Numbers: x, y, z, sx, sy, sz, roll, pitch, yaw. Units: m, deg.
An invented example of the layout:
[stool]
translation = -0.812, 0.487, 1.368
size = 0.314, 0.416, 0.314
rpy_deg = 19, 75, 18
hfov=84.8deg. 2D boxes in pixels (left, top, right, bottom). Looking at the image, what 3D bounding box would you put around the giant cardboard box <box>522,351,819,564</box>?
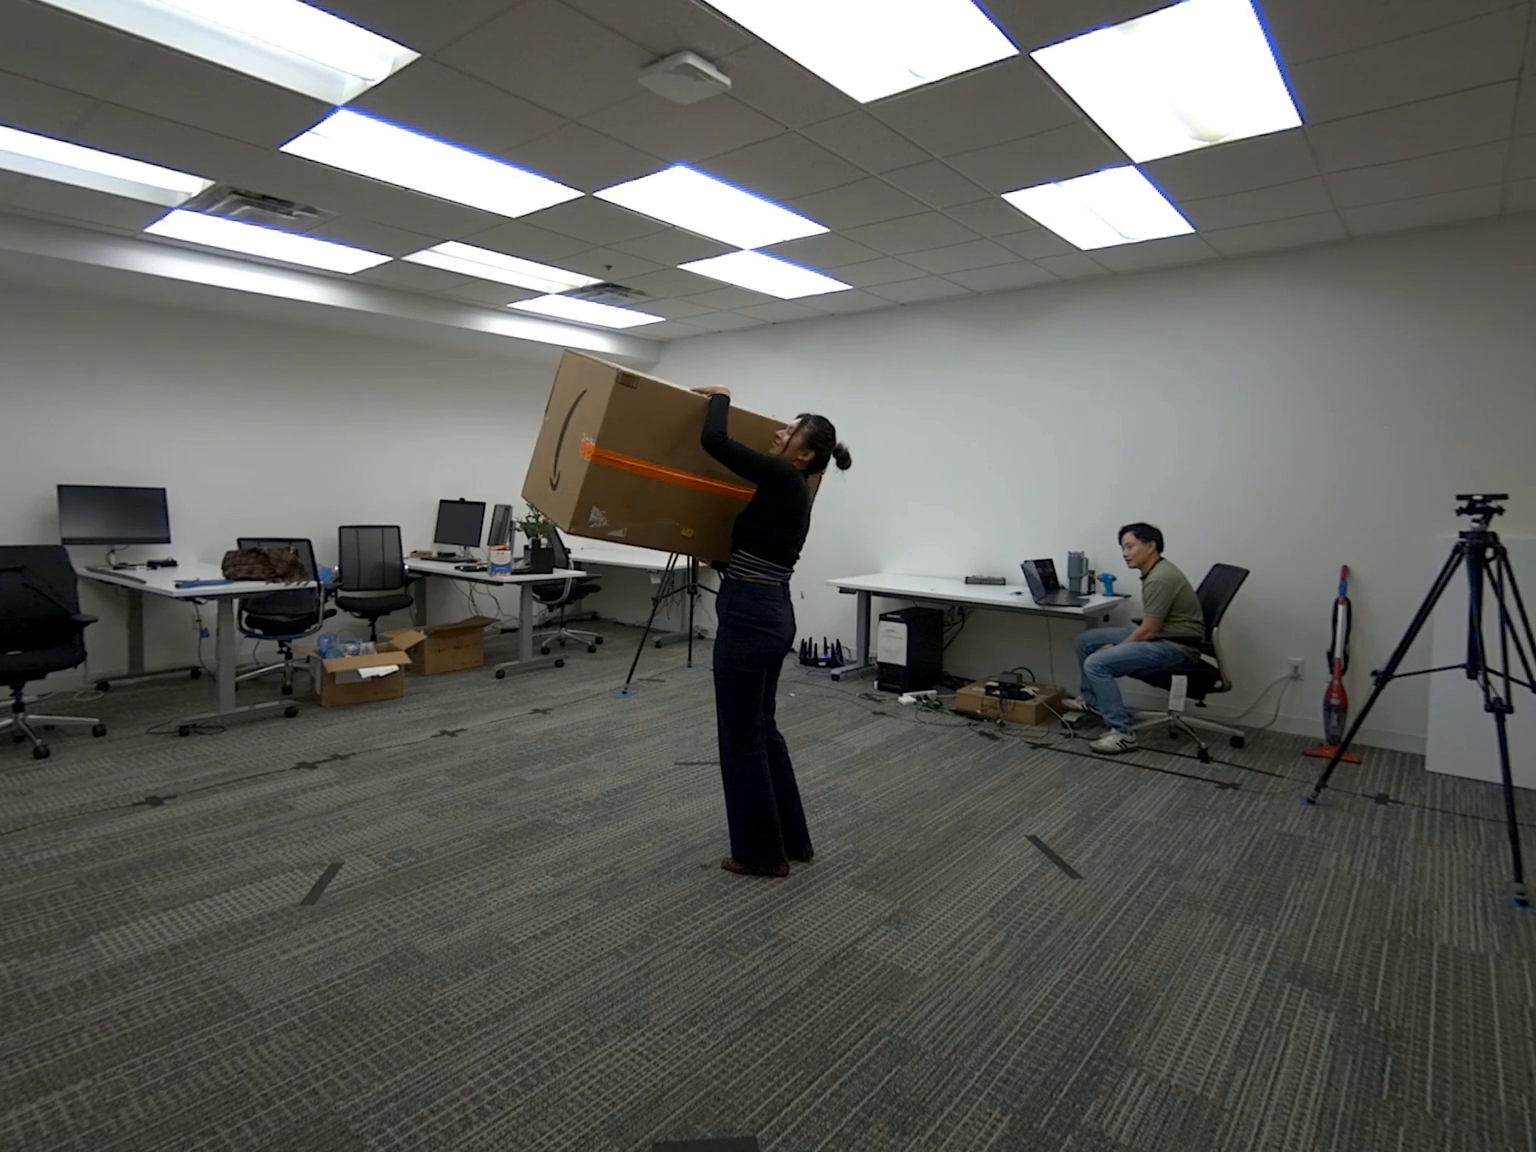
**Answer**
[giant cardboard box]
translation = -0.345, -0.408, 3.247
size = 0.990, 0.574, 0.444
rpy_deg = 9, 14, -40
